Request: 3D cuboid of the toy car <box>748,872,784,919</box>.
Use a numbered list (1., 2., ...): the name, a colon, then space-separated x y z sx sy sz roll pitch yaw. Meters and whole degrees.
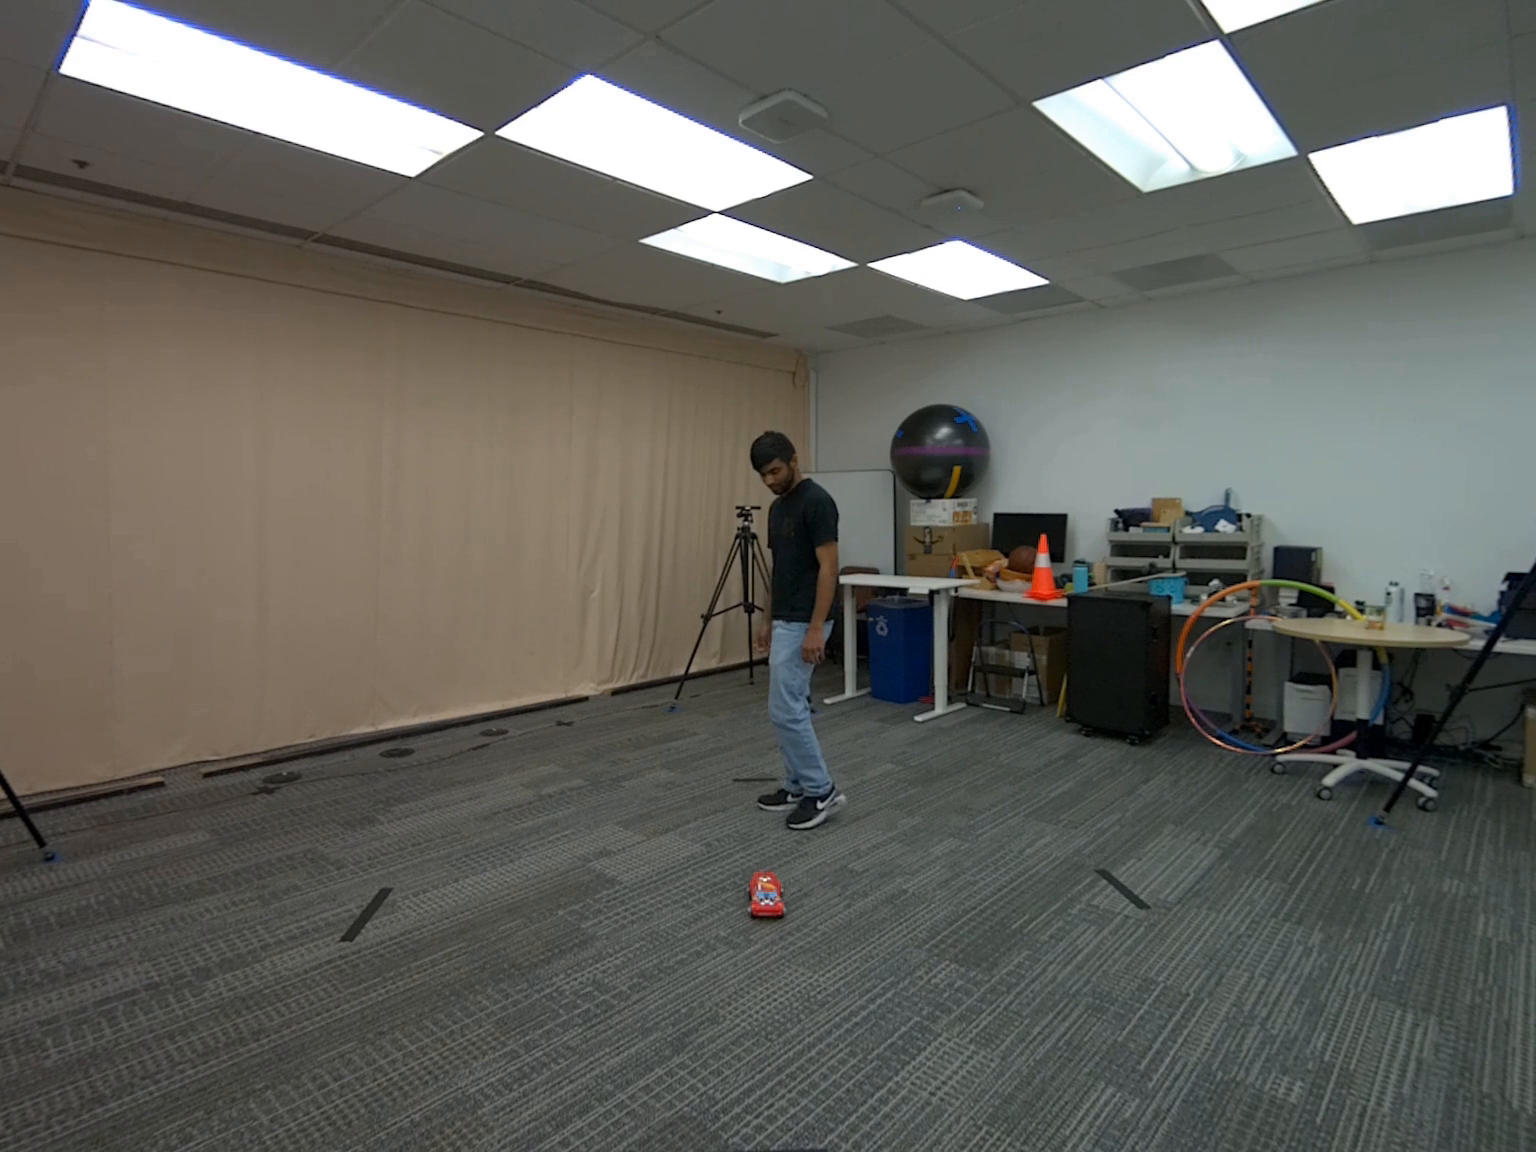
1. toy car: -0.007 1.118 2.938 0.130 0.082 0.257 0 16 -1
